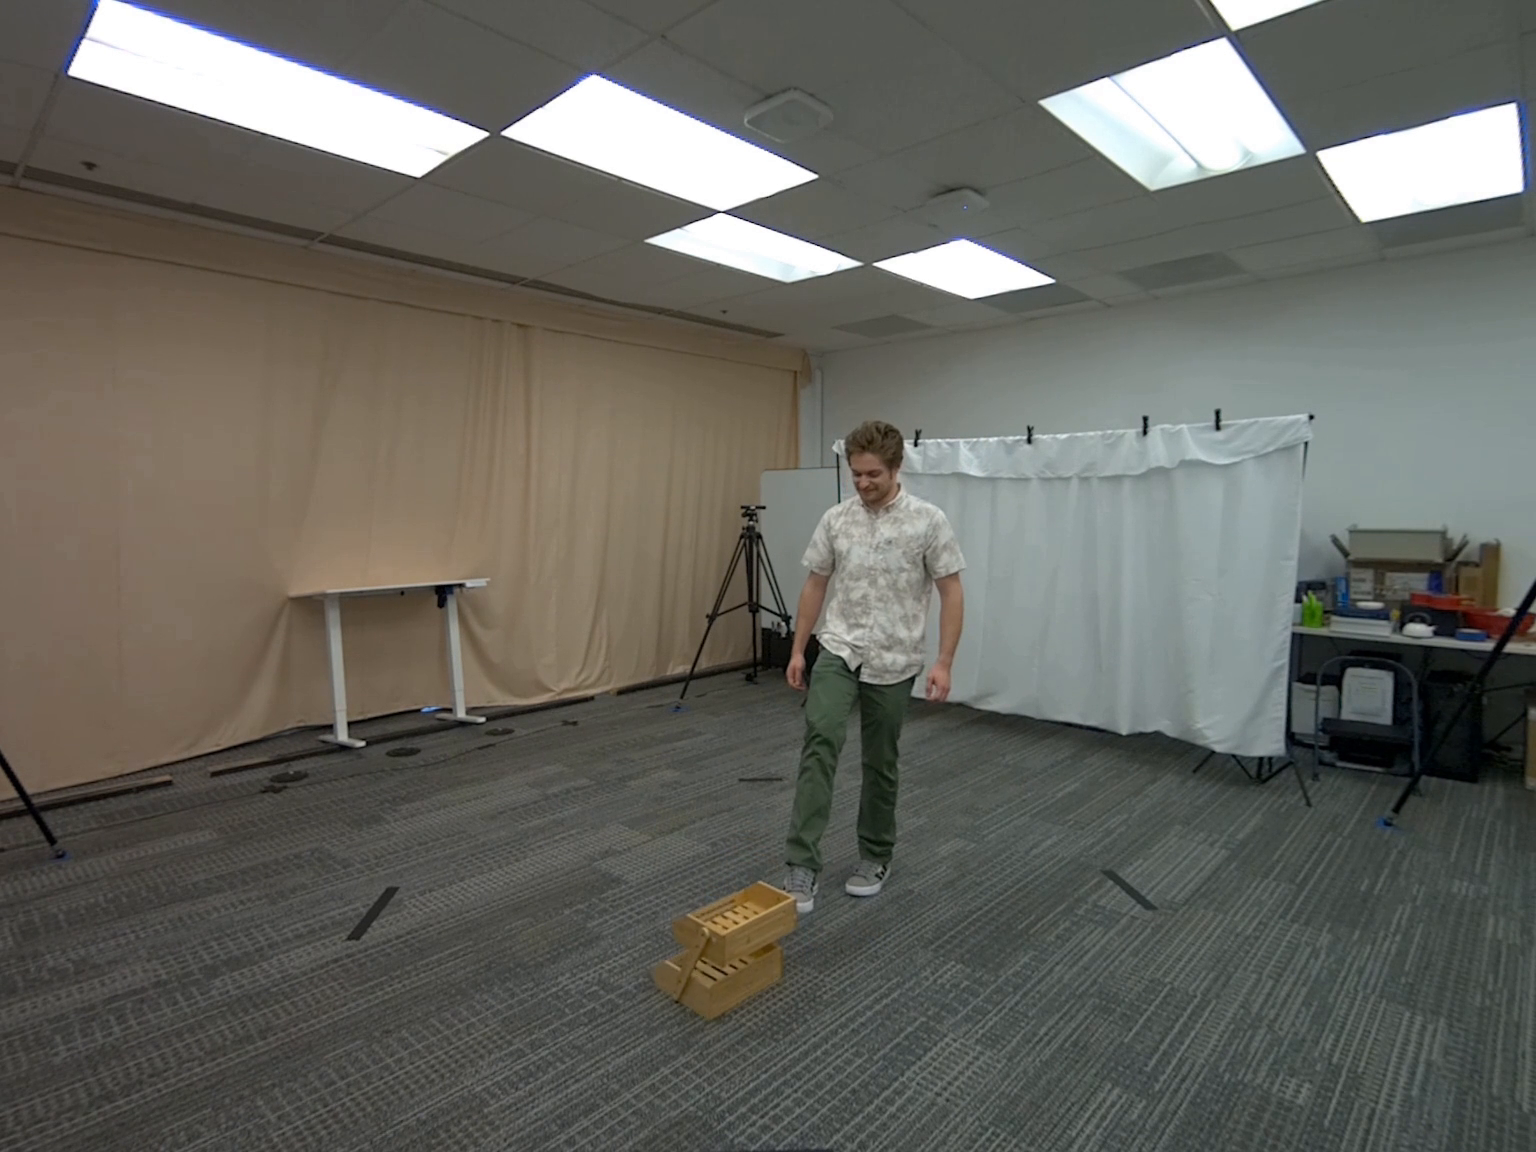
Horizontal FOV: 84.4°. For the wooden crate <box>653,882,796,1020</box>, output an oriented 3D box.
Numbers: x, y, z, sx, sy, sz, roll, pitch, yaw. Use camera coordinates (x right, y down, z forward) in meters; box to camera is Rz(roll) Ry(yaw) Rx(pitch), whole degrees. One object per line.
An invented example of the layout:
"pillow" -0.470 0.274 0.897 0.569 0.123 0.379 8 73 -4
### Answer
"wooden crate" -0.127 1.057 2.440 0.312 0.272 0.314 5 6 44
